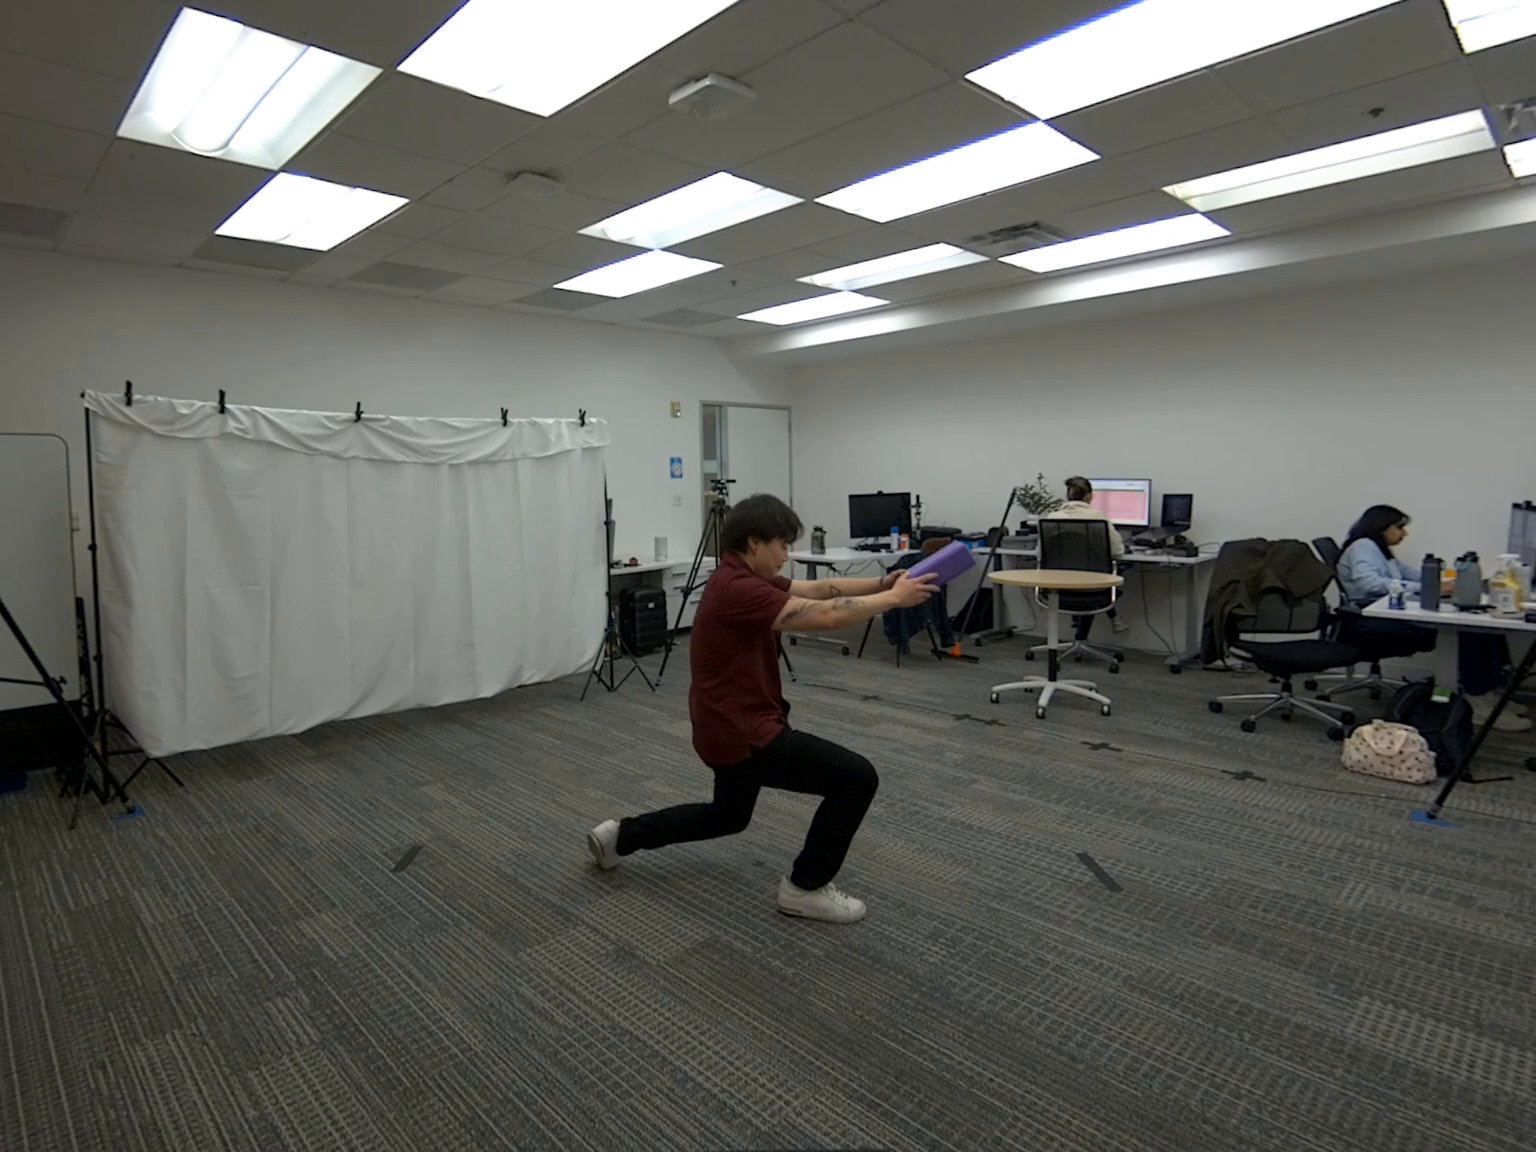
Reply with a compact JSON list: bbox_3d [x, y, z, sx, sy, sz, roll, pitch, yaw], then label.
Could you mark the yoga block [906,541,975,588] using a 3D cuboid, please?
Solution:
[{"bbox_3d":[0.534,-0.017,2.743,0.230,0.076,0.149,-31,4,6],"label":"yoga block"}]
